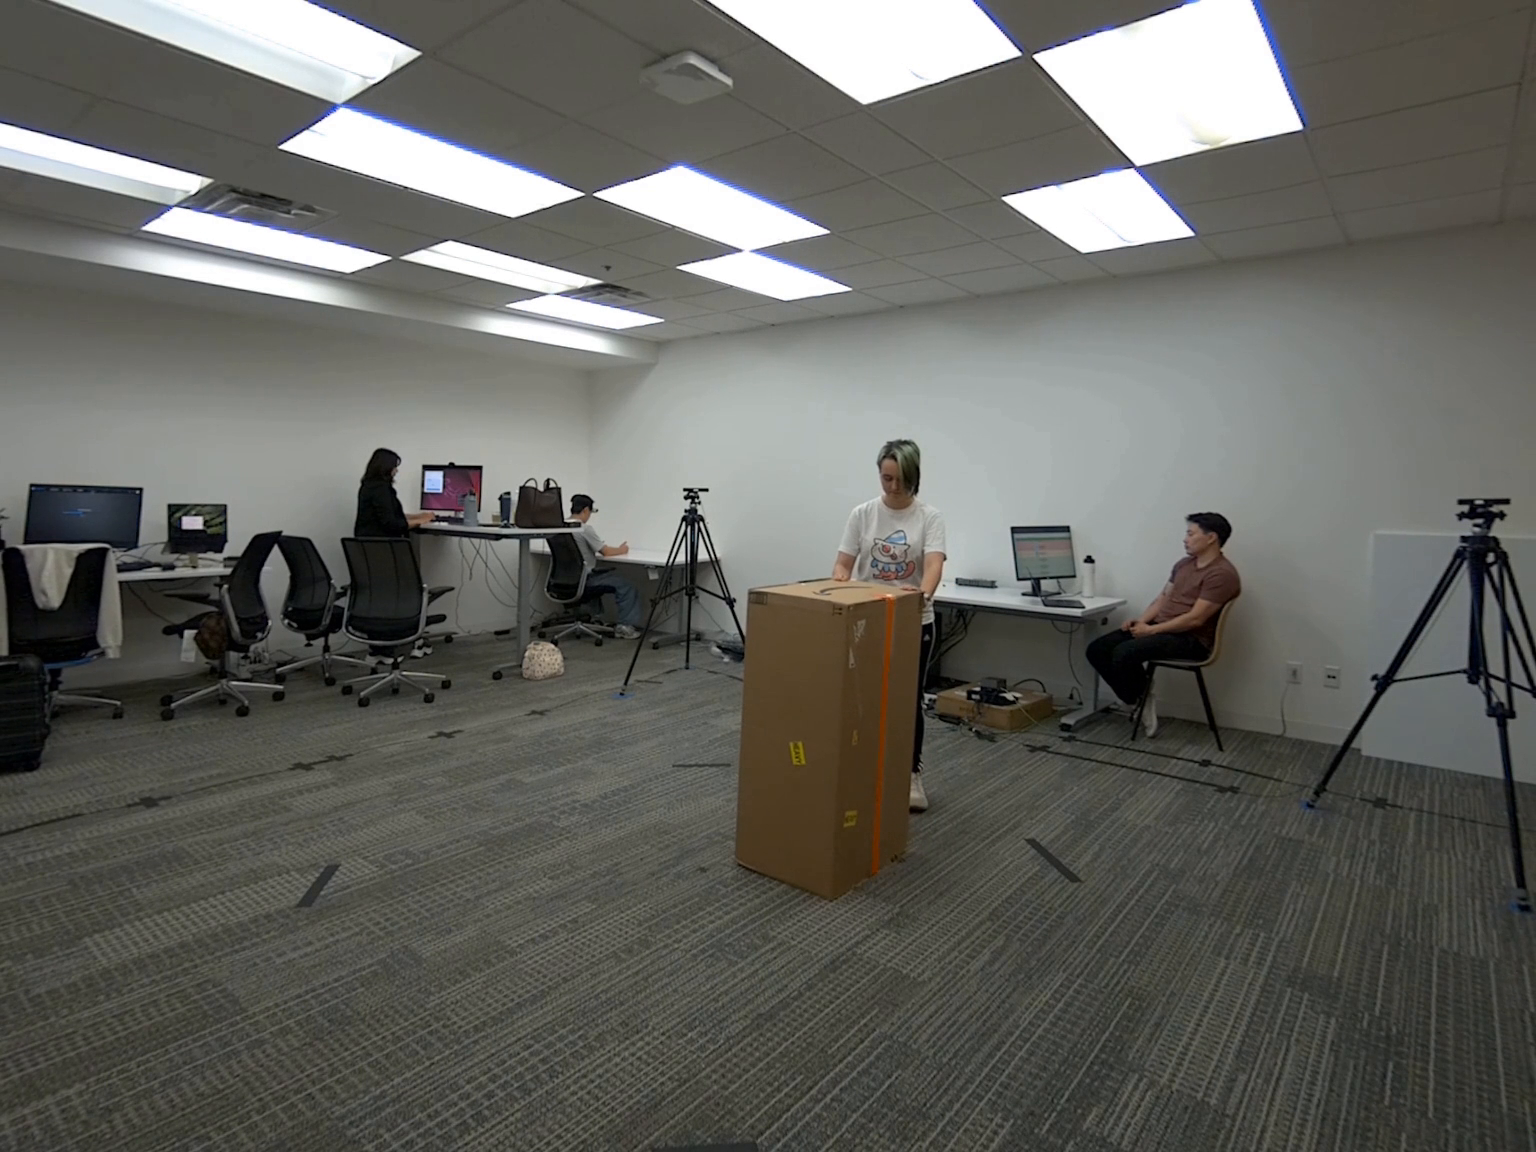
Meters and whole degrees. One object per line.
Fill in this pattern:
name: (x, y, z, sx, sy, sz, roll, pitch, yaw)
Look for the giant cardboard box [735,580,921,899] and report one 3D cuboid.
giant cardboard box: (0.231, 0.560, 3.197, 0.462, 1.023, 0.567, 5, 5, 36)
